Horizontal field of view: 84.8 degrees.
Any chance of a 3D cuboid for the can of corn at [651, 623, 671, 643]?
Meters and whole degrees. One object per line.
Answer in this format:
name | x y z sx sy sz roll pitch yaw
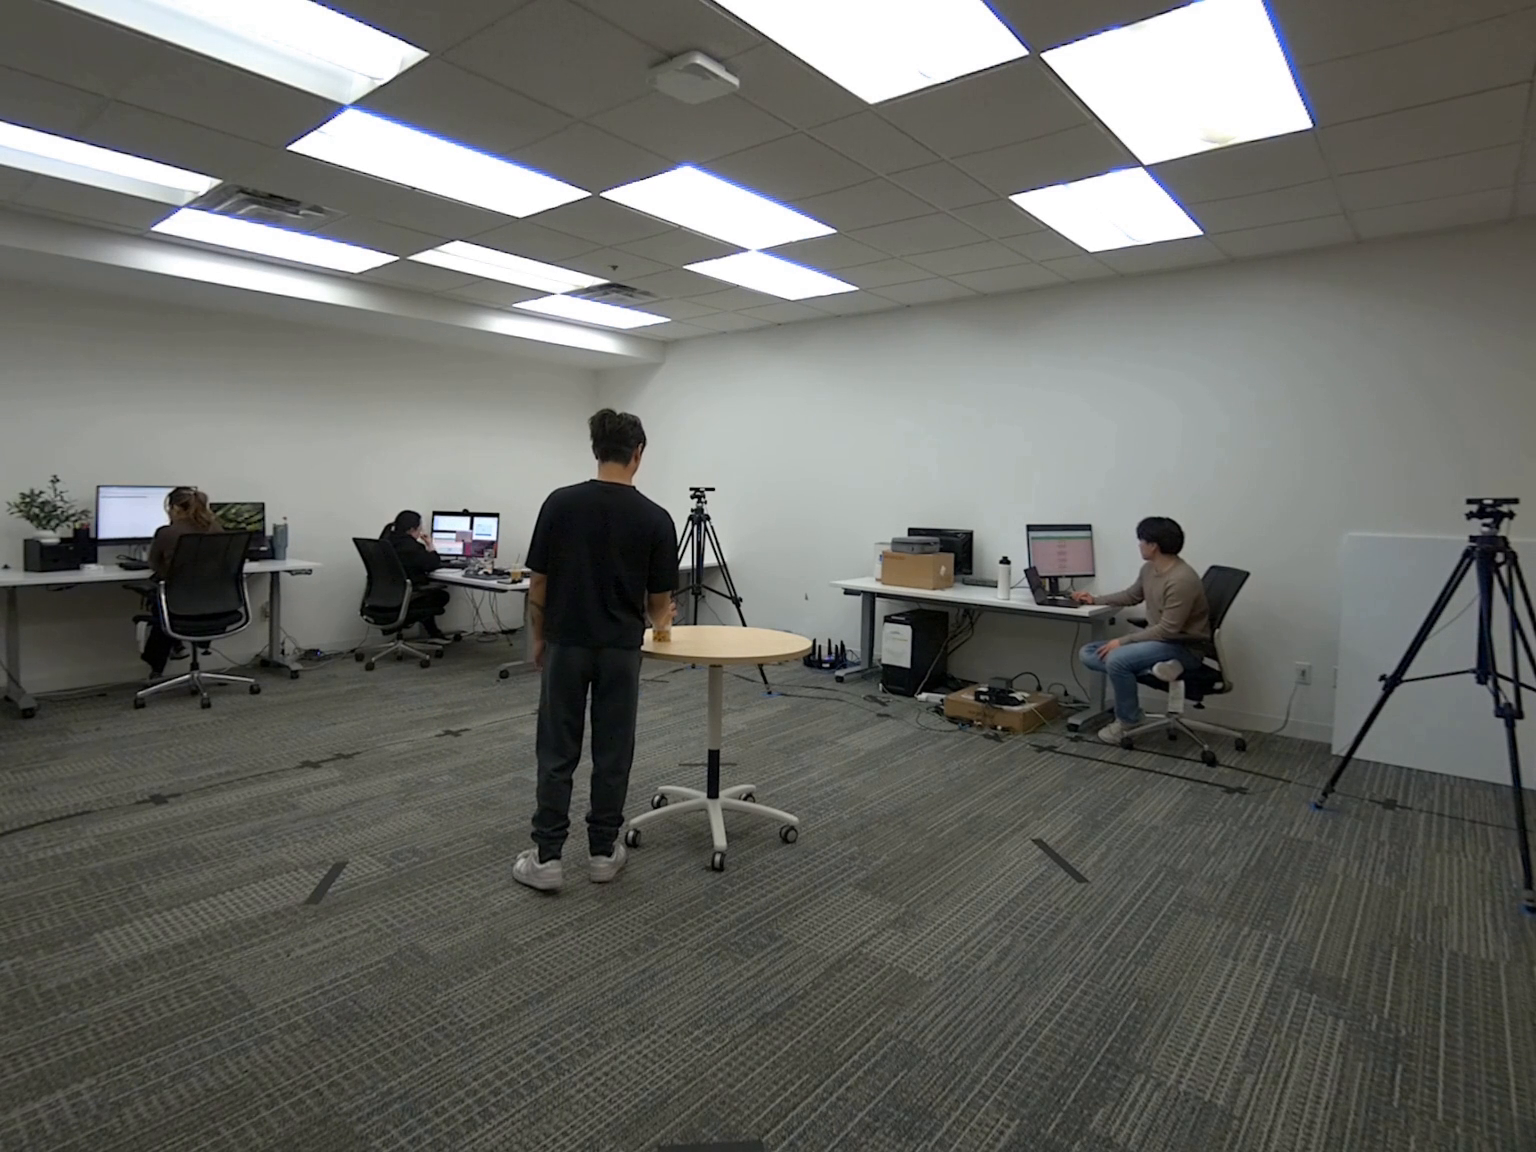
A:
can of corn | -0.429 0.200 3.370 0.074 0.111 0.074 0 4 -2
